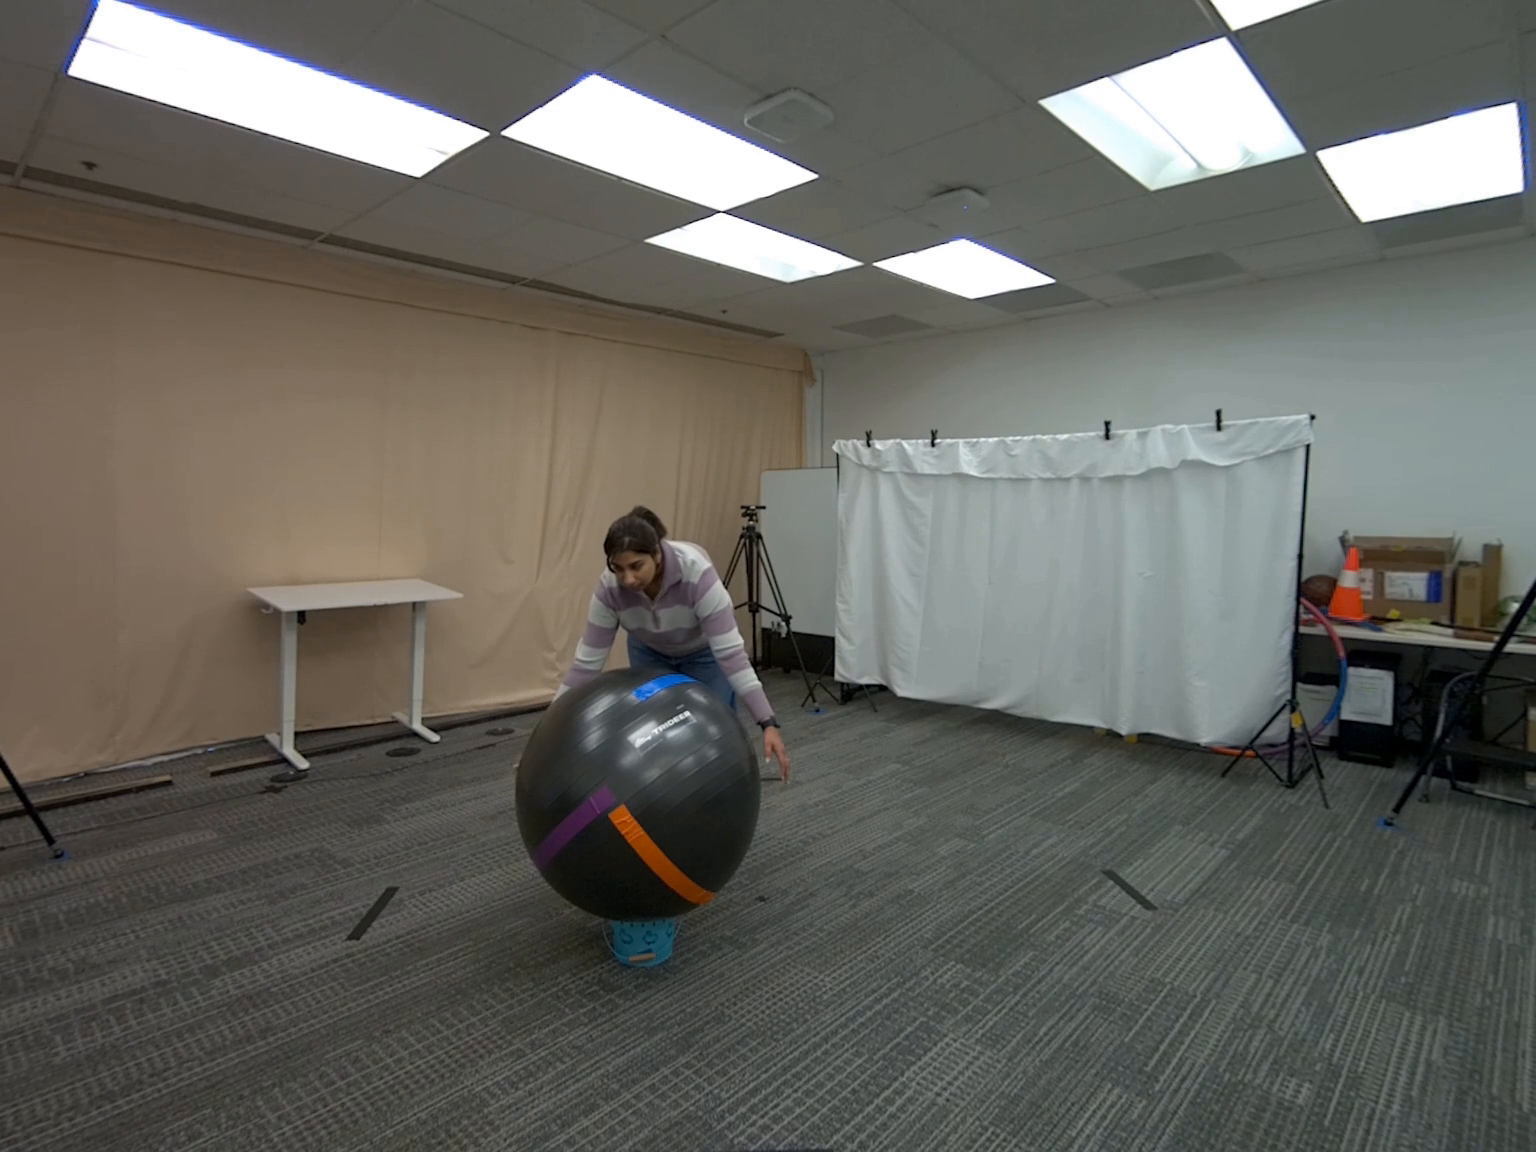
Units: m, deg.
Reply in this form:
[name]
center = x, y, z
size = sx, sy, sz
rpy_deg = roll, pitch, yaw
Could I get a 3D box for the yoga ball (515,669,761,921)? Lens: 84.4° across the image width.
[yoga ball]
center = -0.411, 0.669, 2.610
size = 0.757, 0.756, 0.761
rpy_deg = 0, 4, -2
